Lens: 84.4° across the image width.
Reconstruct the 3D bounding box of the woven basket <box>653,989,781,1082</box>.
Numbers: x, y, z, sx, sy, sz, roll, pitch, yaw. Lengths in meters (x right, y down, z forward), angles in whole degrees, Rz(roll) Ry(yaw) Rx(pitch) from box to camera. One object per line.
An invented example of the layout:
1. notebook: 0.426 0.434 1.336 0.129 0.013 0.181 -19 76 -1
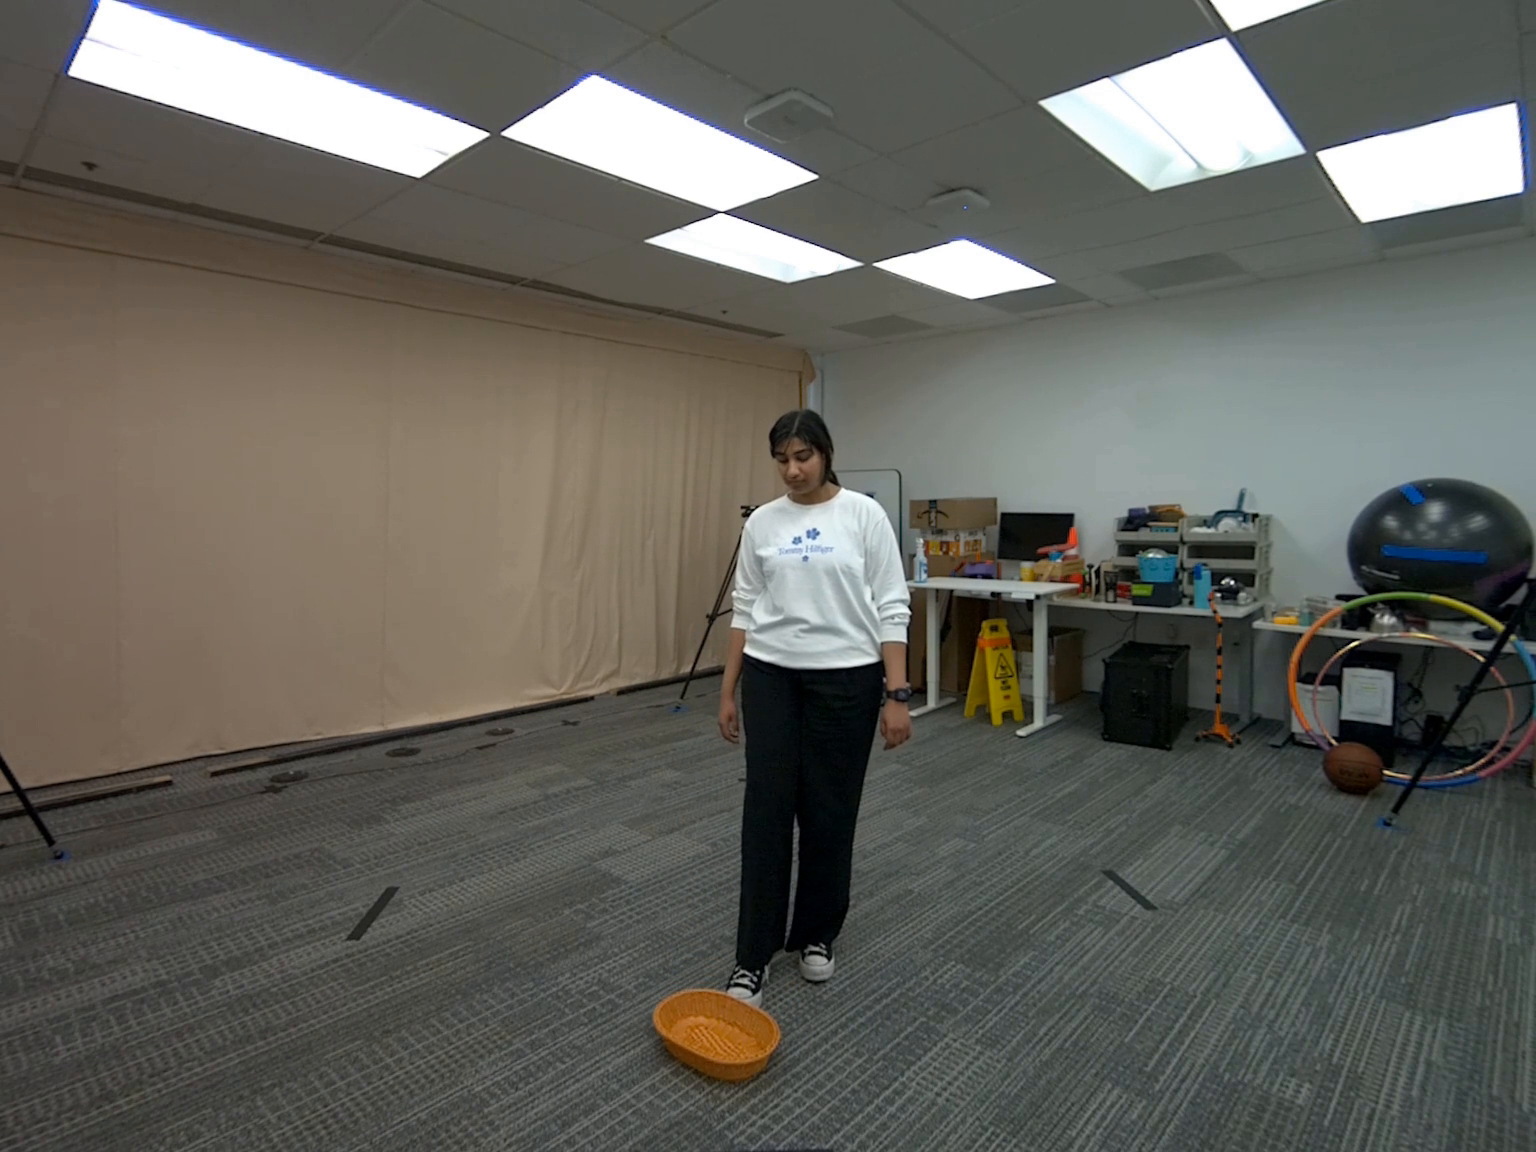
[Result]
1. woven basket: -0.124 1.175 2.161 0.362 0.073 0.245 5 7 42
